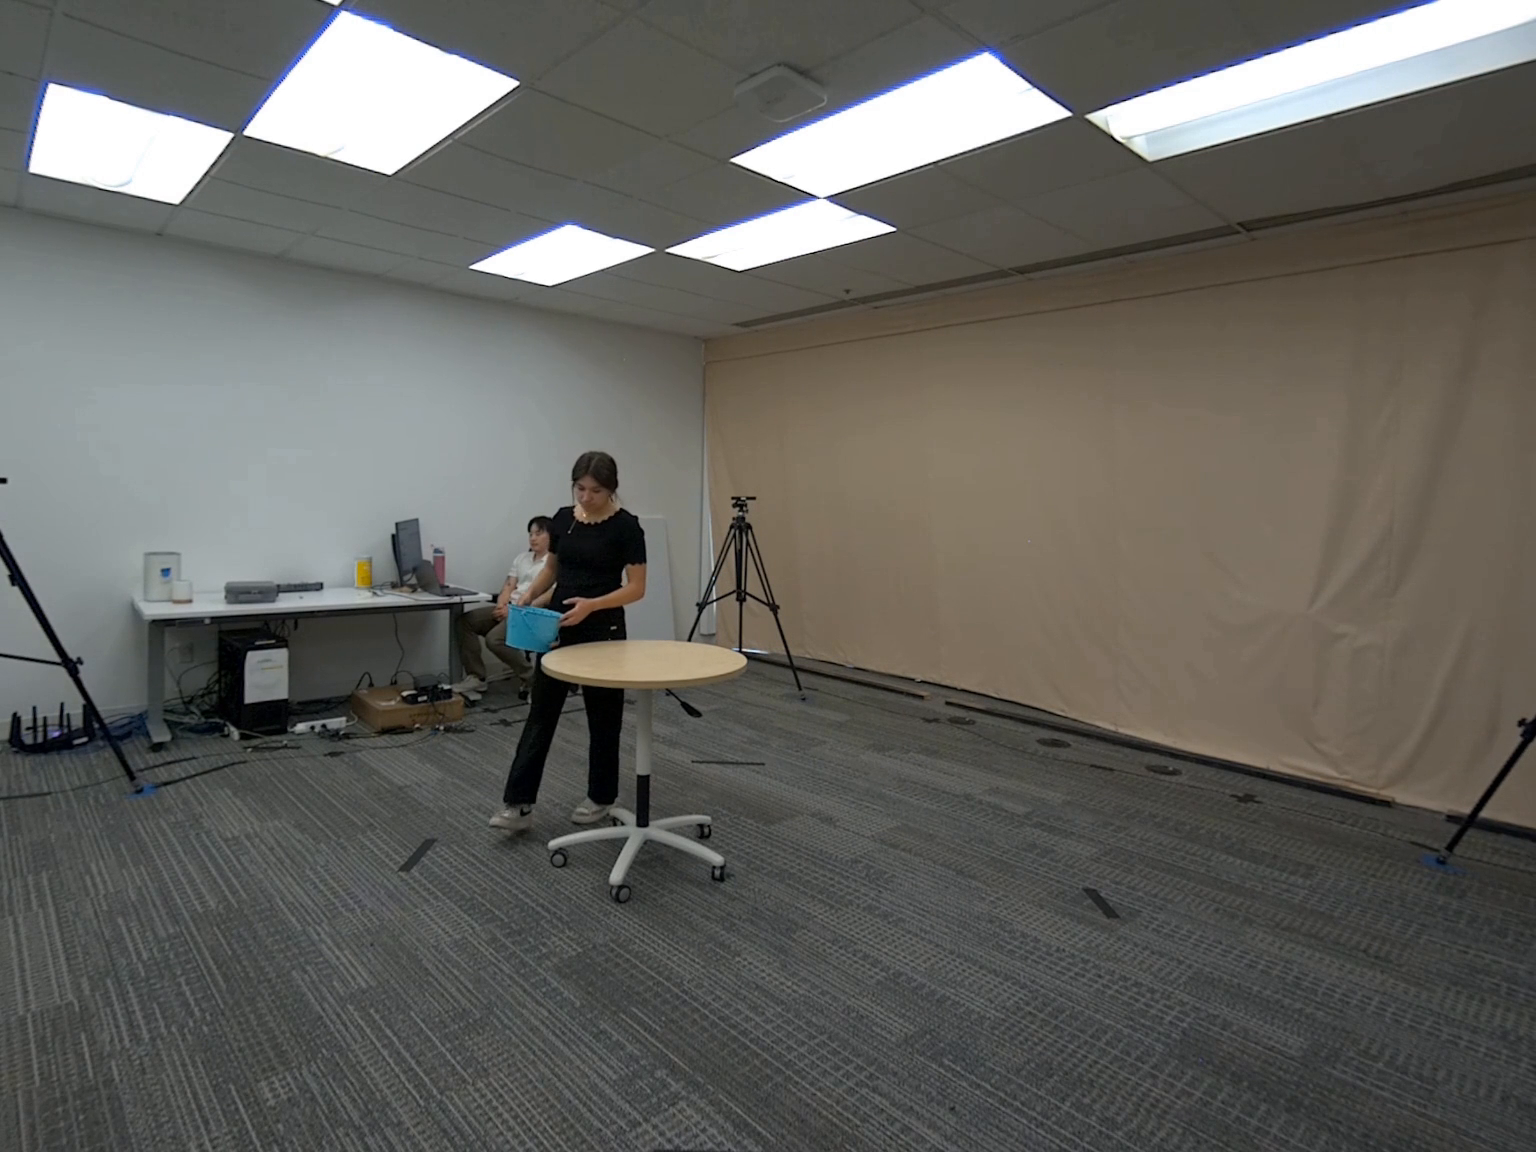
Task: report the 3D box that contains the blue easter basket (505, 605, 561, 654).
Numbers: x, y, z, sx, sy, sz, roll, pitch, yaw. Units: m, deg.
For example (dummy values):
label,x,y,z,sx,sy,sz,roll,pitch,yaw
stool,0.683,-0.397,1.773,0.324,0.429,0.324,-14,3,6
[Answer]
label,x,y,z,sx,sy,sz,roll,pitch,yaw
blue easter basket,-0.969,0.214,3.379,0.243,0.156,0.243,8,-1,-1
